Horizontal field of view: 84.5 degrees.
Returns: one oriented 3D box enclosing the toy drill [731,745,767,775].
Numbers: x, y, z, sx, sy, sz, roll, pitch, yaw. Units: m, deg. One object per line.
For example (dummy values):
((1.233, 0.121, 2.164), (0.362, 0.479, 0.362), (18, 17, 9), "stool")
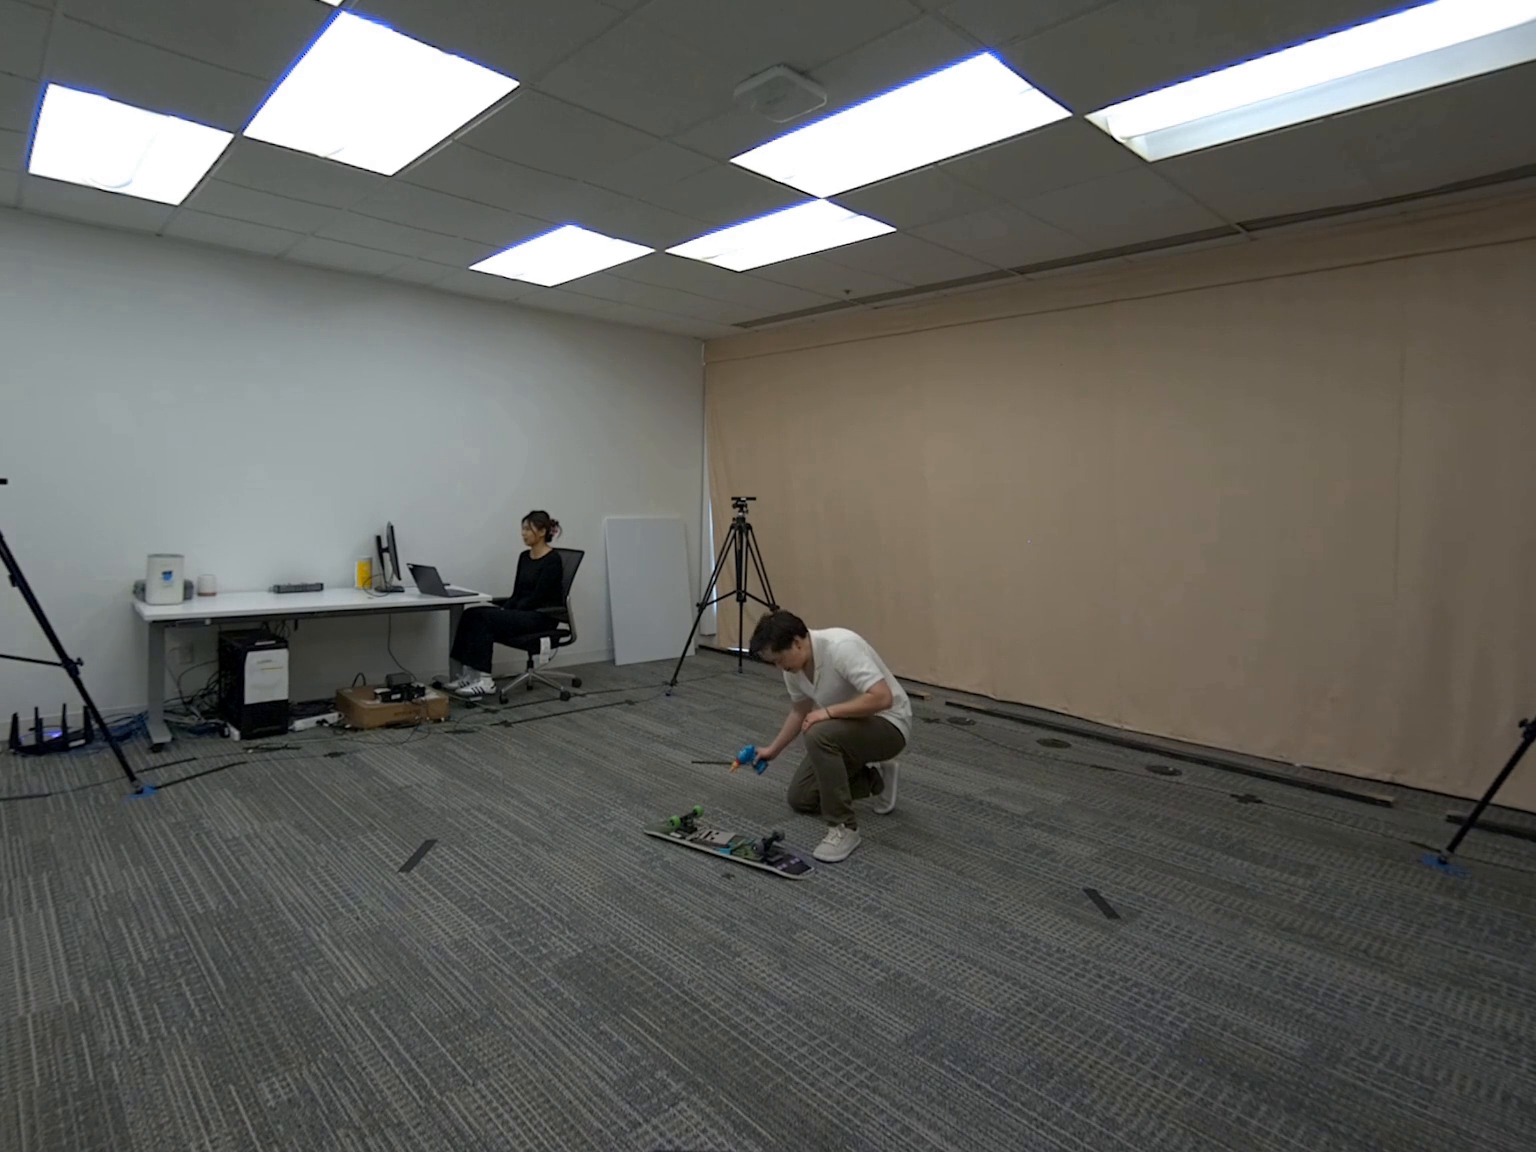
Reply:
((-0.097, 0.881, 3.961), (0.147, 0.169, 0.060), (43, -15, 8), "toy drill")
